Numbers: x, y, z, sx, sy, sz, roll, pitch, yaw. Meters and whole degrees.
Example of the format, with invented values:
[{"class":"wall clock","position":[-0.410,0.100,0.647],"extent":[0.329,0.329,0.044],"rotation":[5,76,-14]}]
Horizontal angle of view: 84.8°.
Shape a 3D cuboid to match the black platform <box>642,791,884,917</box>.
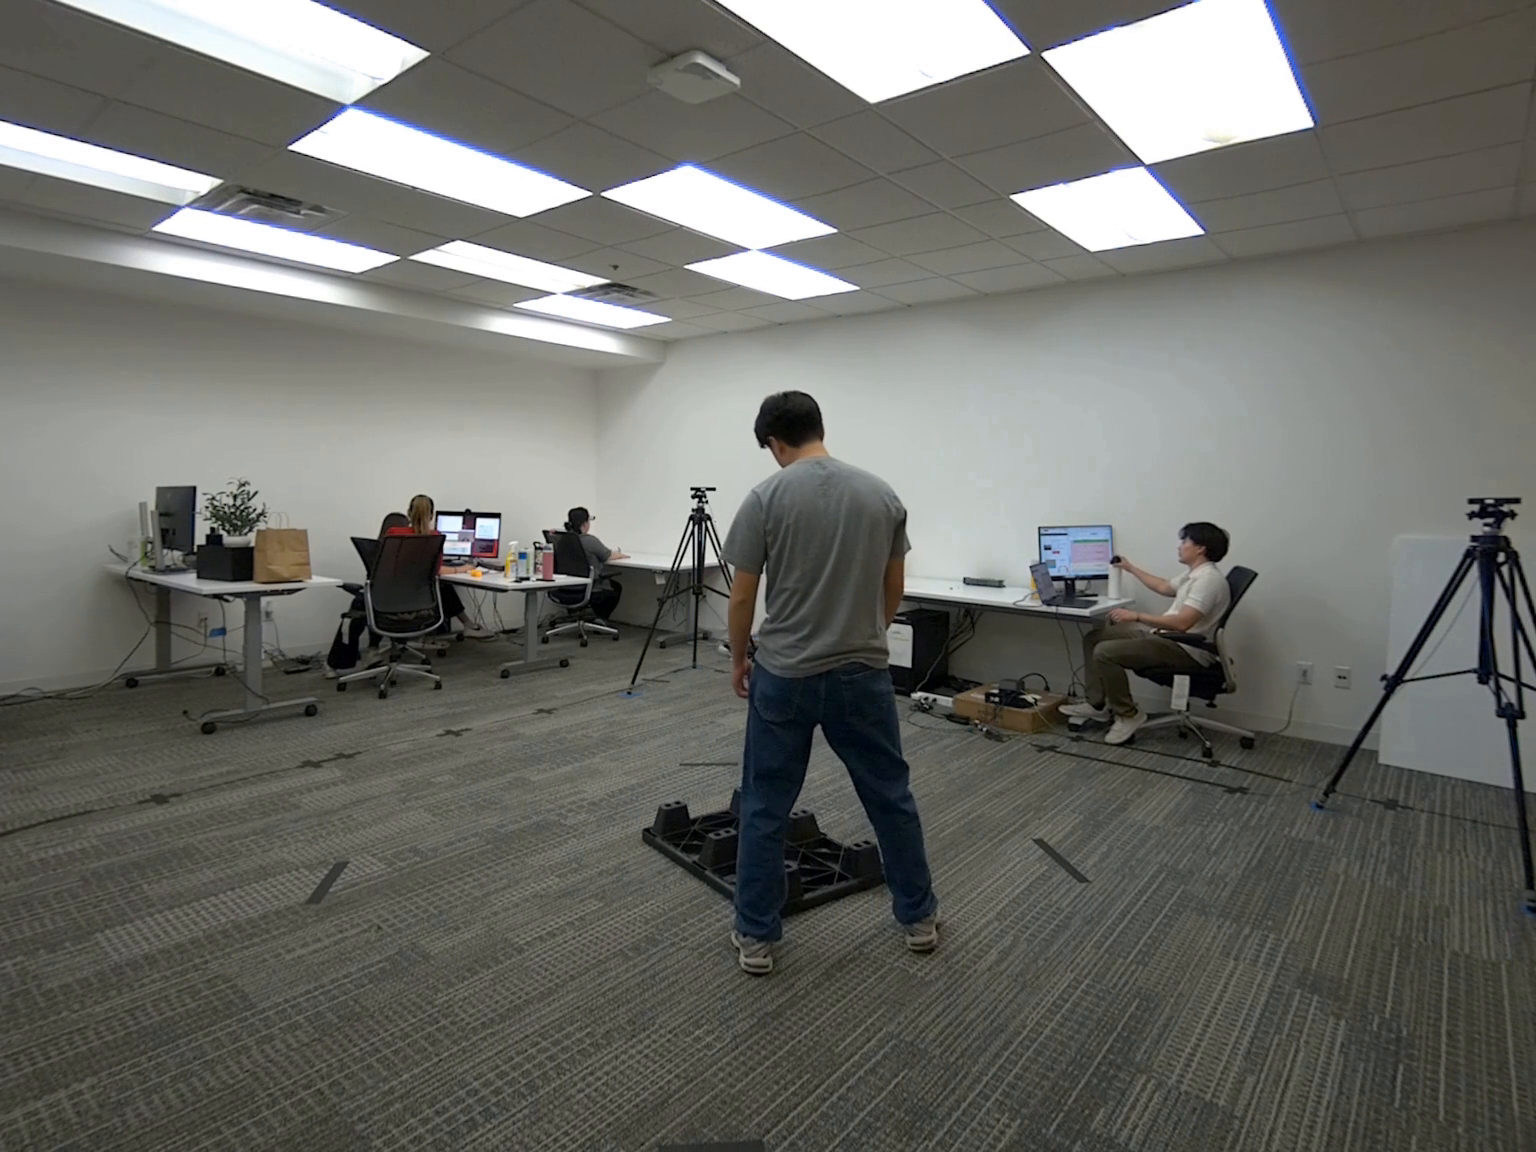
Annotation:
[{"class":"black platform","position":[-0.035,0.995,3.203],"extent":[0.587,0.143,0.833],"rotation":[-2,6,-38]}]
